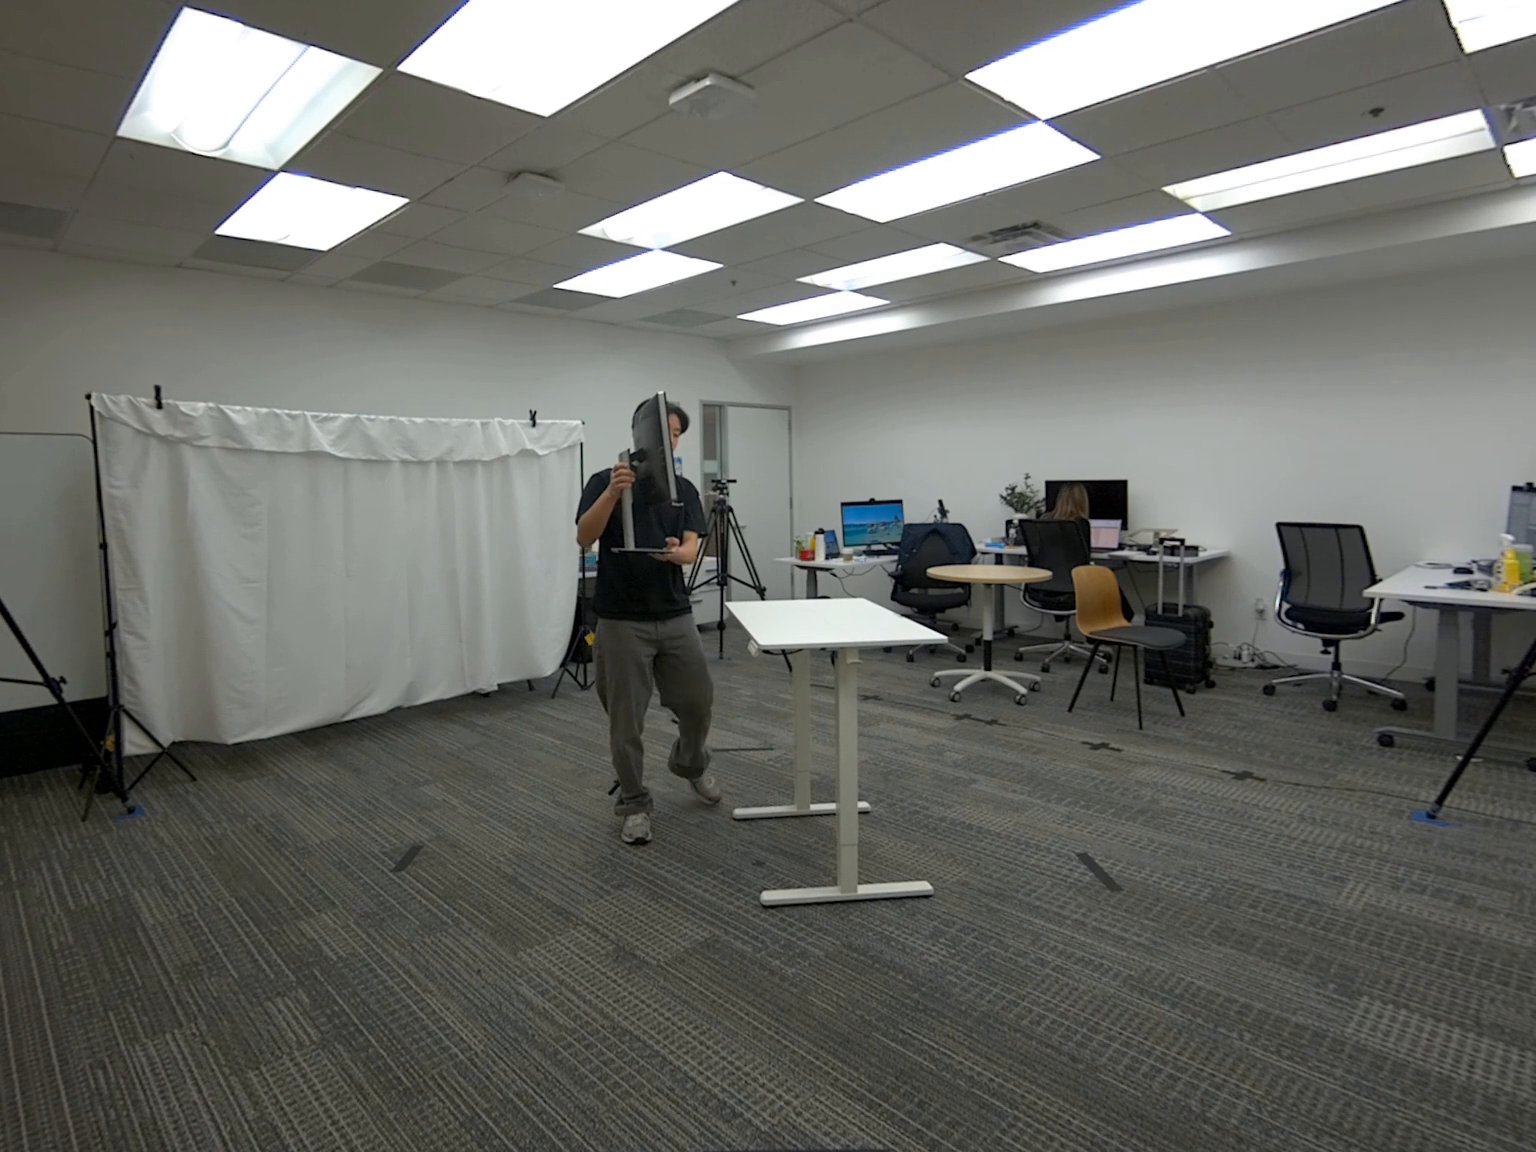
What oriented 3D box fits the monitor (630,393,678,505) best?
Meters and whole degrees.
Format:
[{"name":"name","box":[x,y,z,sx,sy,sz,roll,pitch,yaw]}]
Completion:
[{"name":"monitor","box":[-0.438,-0.339,3.079,0.219,0.566,0.569,6,0,-13]}]
